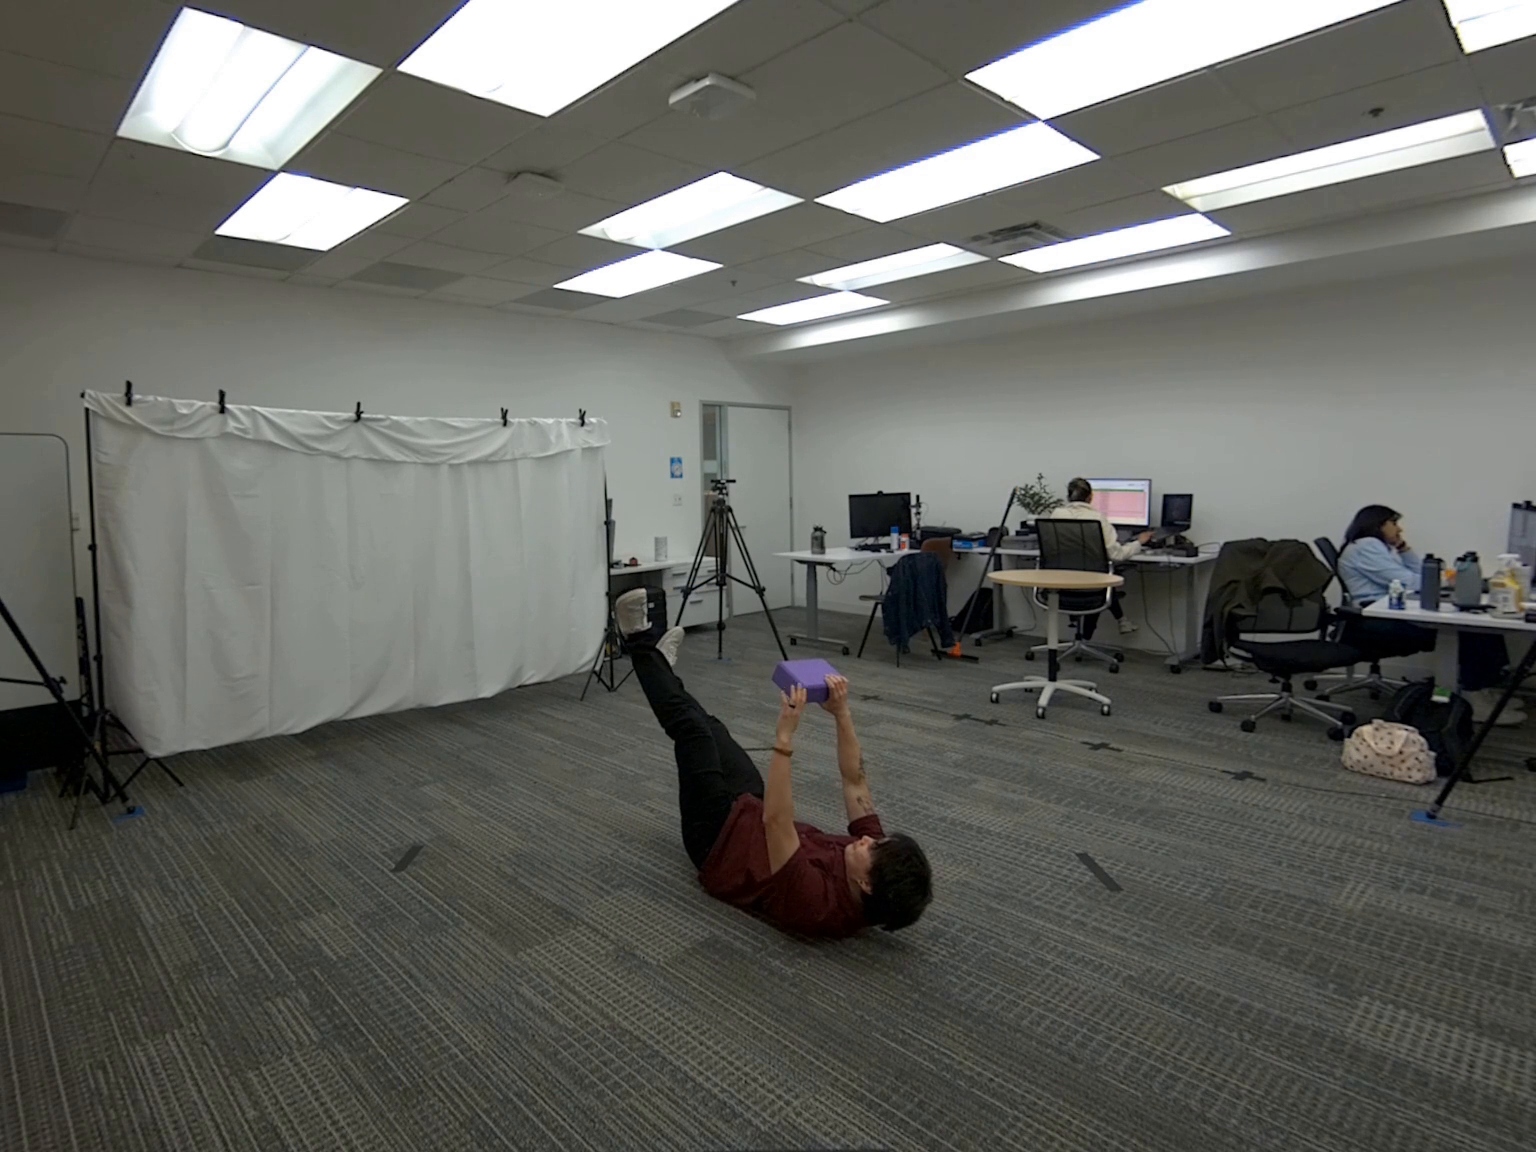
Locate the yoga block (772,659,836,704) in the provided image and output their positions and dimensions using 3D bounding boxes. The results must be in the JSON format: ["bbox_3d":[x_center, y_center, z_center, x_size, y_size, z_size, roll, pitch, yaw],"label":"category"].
[{"bbox_3d":[0.139,0.356,2.886,0.222,0.076,0.155,5,27,-38],"label":"yoga block"}]
